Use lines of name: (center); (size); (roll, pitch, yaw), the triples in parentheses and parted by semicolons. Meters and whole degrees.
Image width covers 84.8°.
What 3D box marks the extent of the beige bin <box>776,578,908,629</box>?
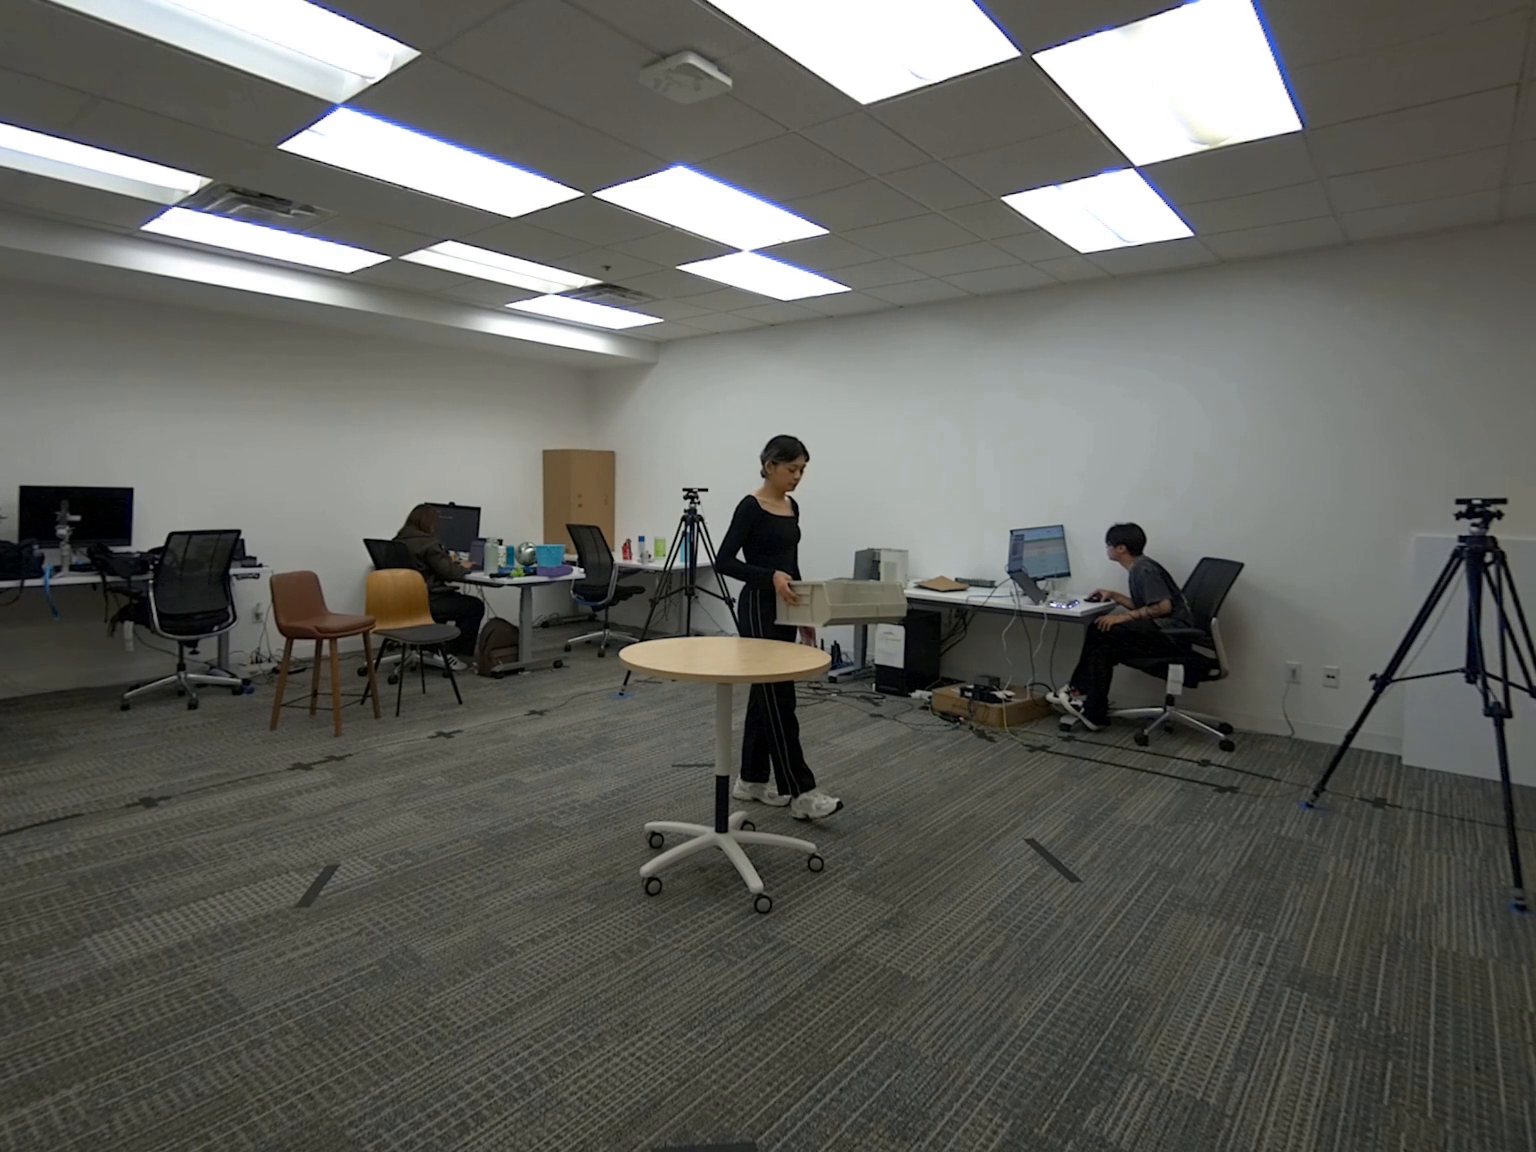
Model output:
beige bin: (0.287, 0.108, 3.542); (0.410, 0.189, 0.387); (1, -2, -34)
